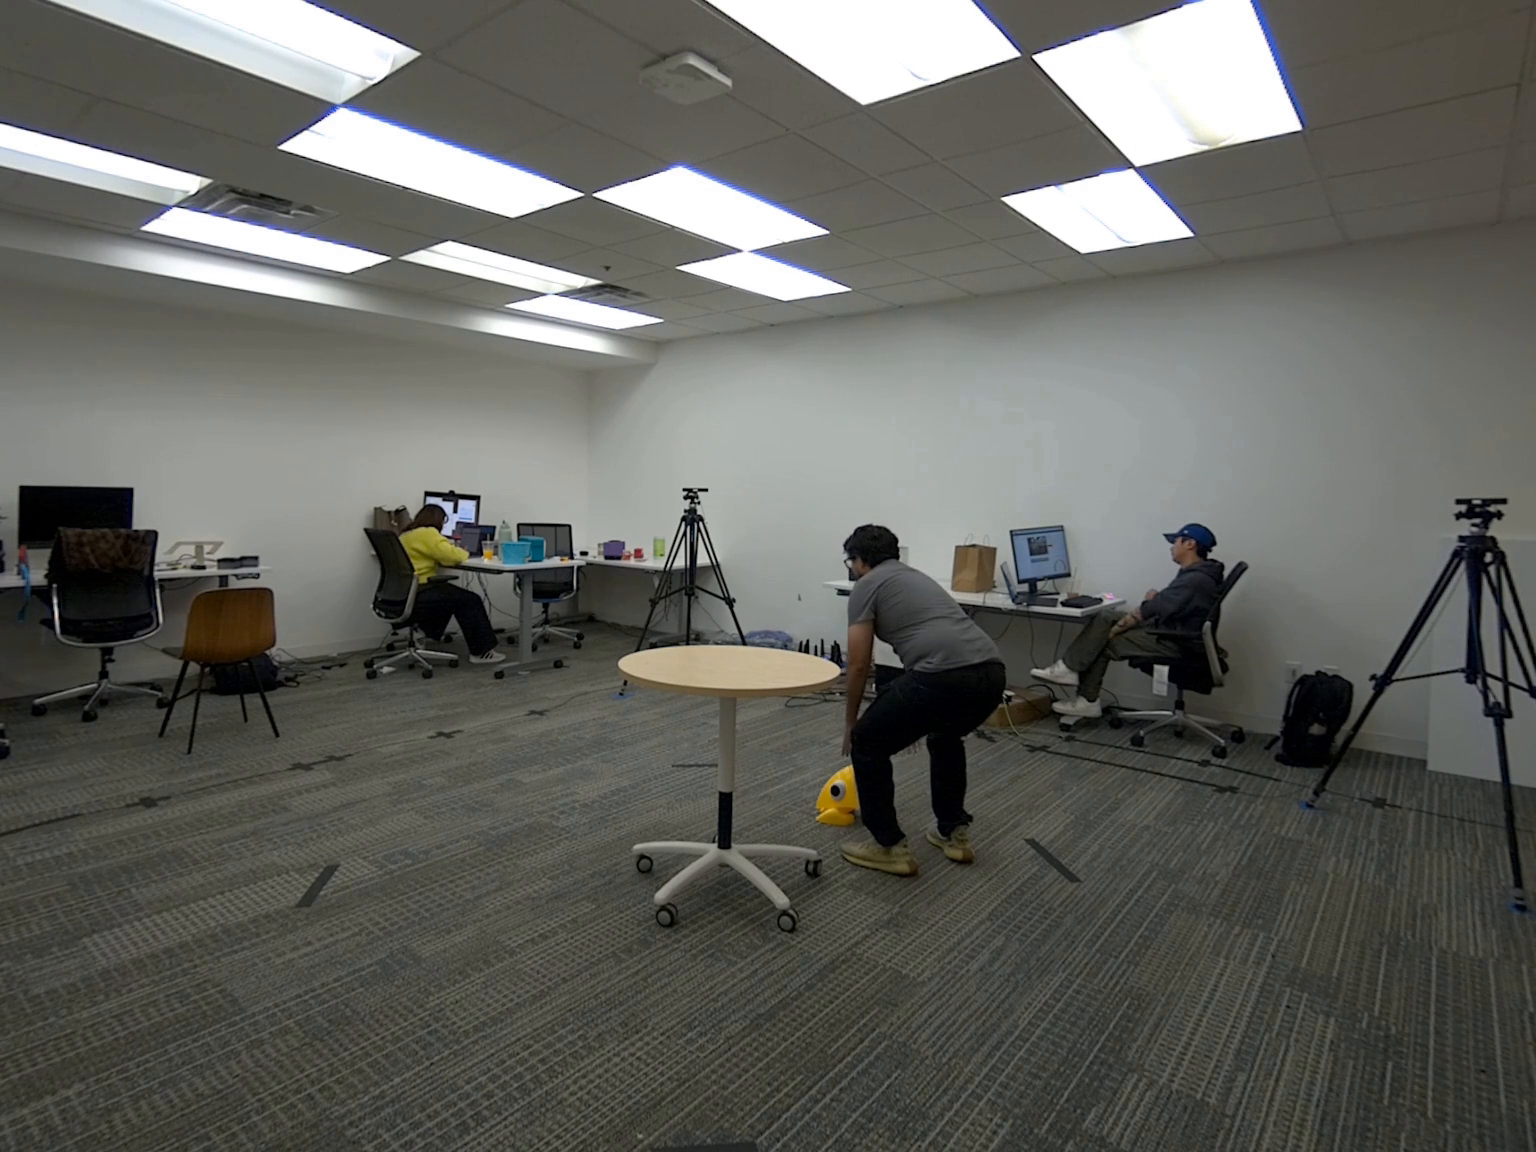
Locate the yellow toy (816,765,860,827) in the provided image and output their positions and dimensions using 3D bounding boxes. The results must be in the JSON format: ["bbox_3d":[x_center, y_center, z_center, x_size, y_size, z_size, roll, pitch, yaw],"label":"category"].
[{"bbox_3d":[0.294,0.913,3.647,0.195,0.230,0.203,3,4,8],"label":"yellow toy"}]
